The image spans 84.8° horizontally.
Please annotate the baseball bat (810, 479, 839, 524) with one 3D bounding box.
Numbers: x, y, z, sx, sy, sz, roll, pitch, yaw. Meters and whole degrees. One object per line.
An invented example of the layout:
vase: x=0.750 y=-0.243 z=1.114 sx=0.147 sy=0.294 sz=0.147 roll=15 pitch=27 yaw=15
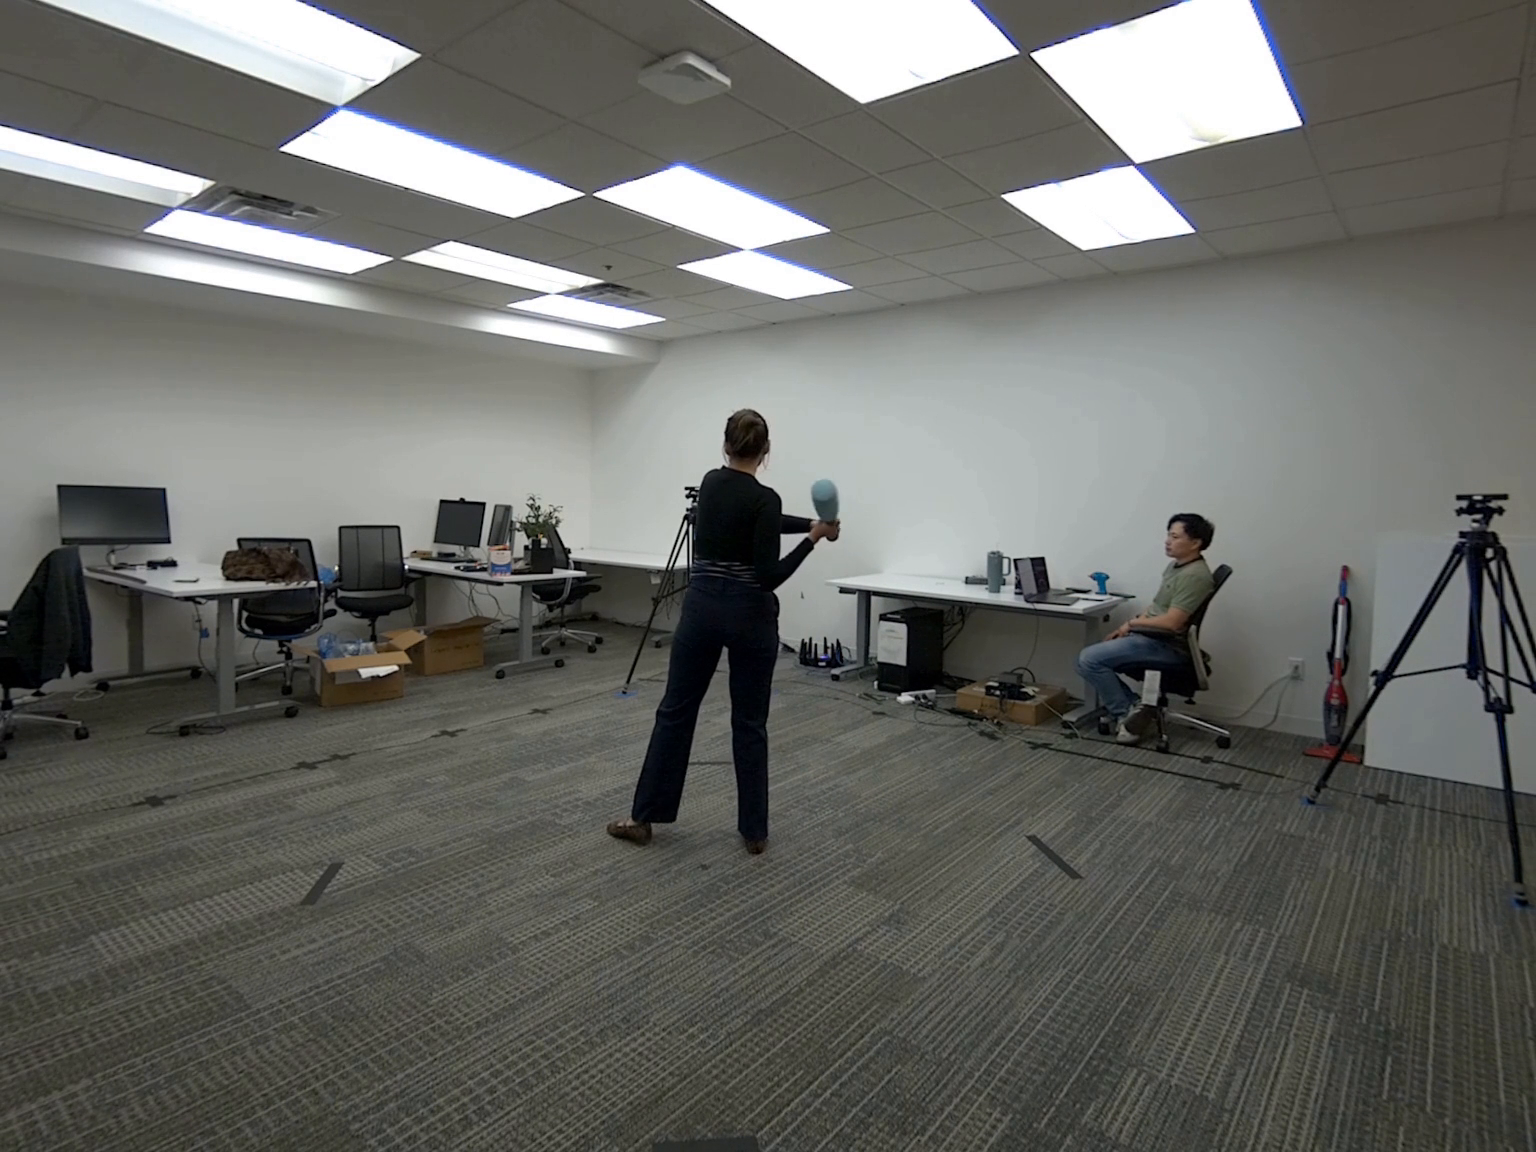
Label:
baseball bat: x=0.214 y=-0.202 z=3.042 sx=0.090 sy=0.090 sz=0.531 roll=2 pitch=-14 yaw=5
